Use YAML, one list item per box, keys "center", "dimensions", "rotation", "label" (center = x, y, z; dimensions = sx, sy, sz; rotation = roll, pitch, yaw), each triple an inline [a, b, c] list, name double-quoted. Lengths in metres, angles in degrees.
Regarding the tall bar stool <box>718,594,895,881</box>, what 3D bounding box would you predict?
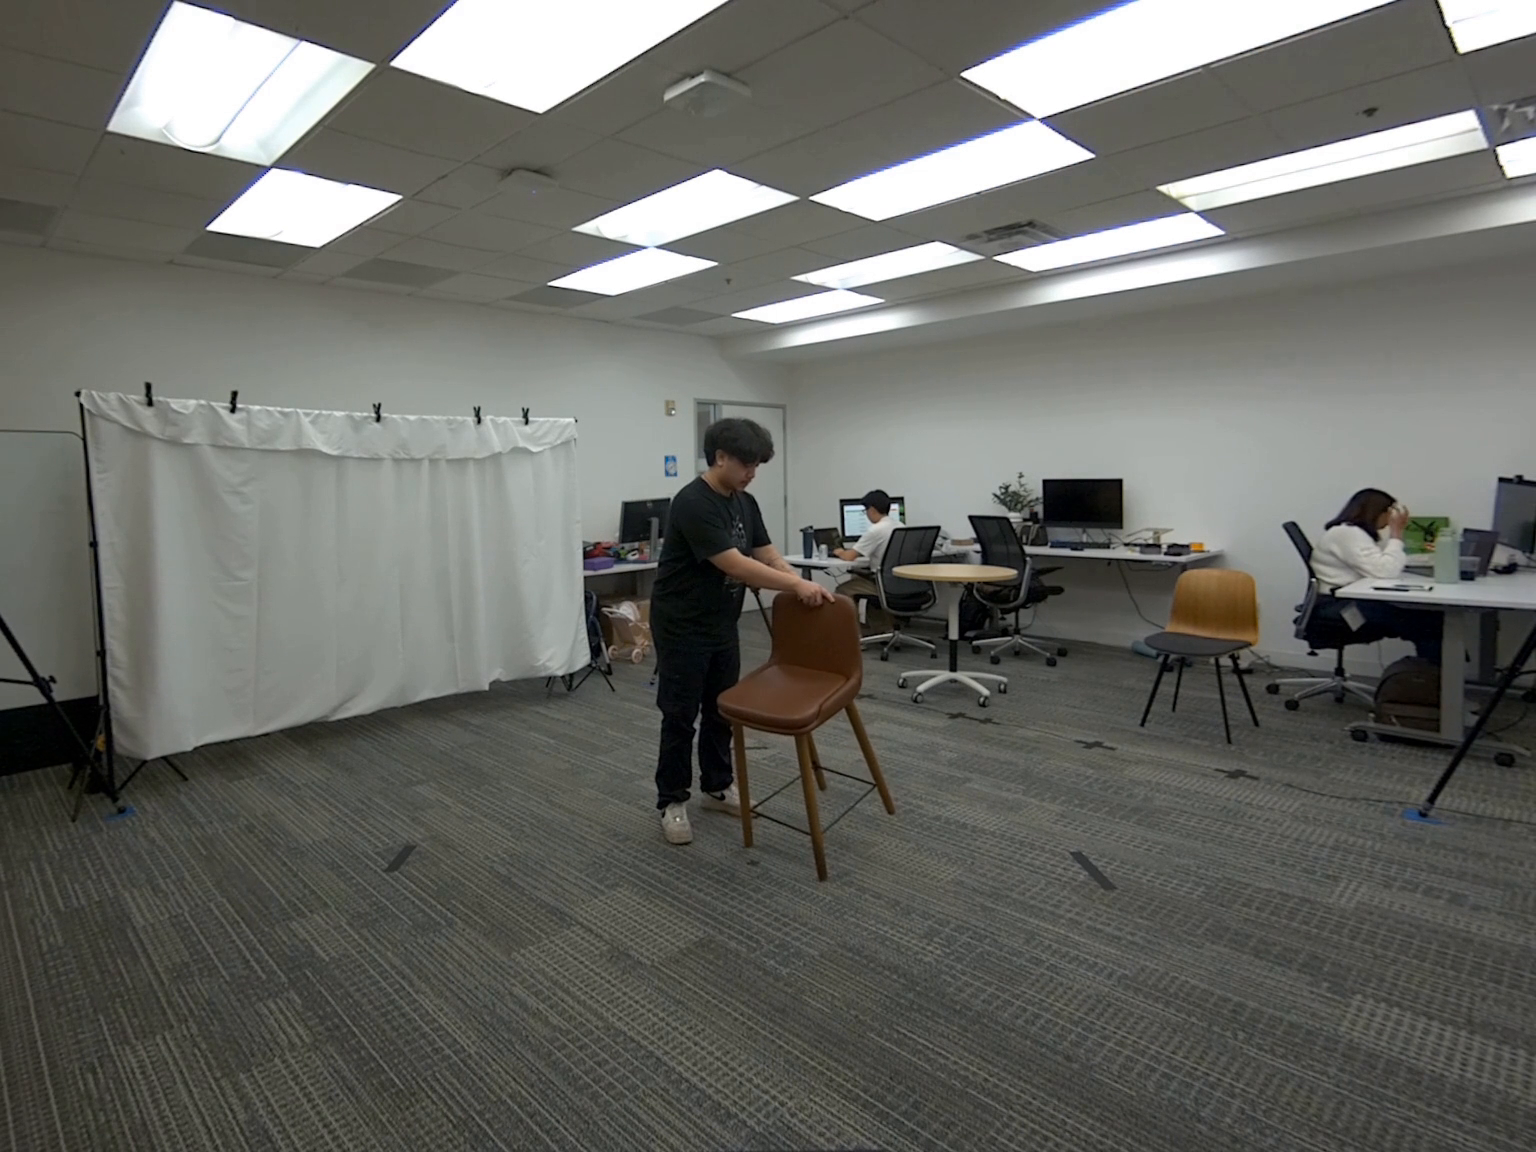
- center: [0.121, 0.554, 3.137]
  dimensions: [0.460, 0.877, 0.470]
  rotation: [-22, 18, -40]
  label: "tall bar stool"
